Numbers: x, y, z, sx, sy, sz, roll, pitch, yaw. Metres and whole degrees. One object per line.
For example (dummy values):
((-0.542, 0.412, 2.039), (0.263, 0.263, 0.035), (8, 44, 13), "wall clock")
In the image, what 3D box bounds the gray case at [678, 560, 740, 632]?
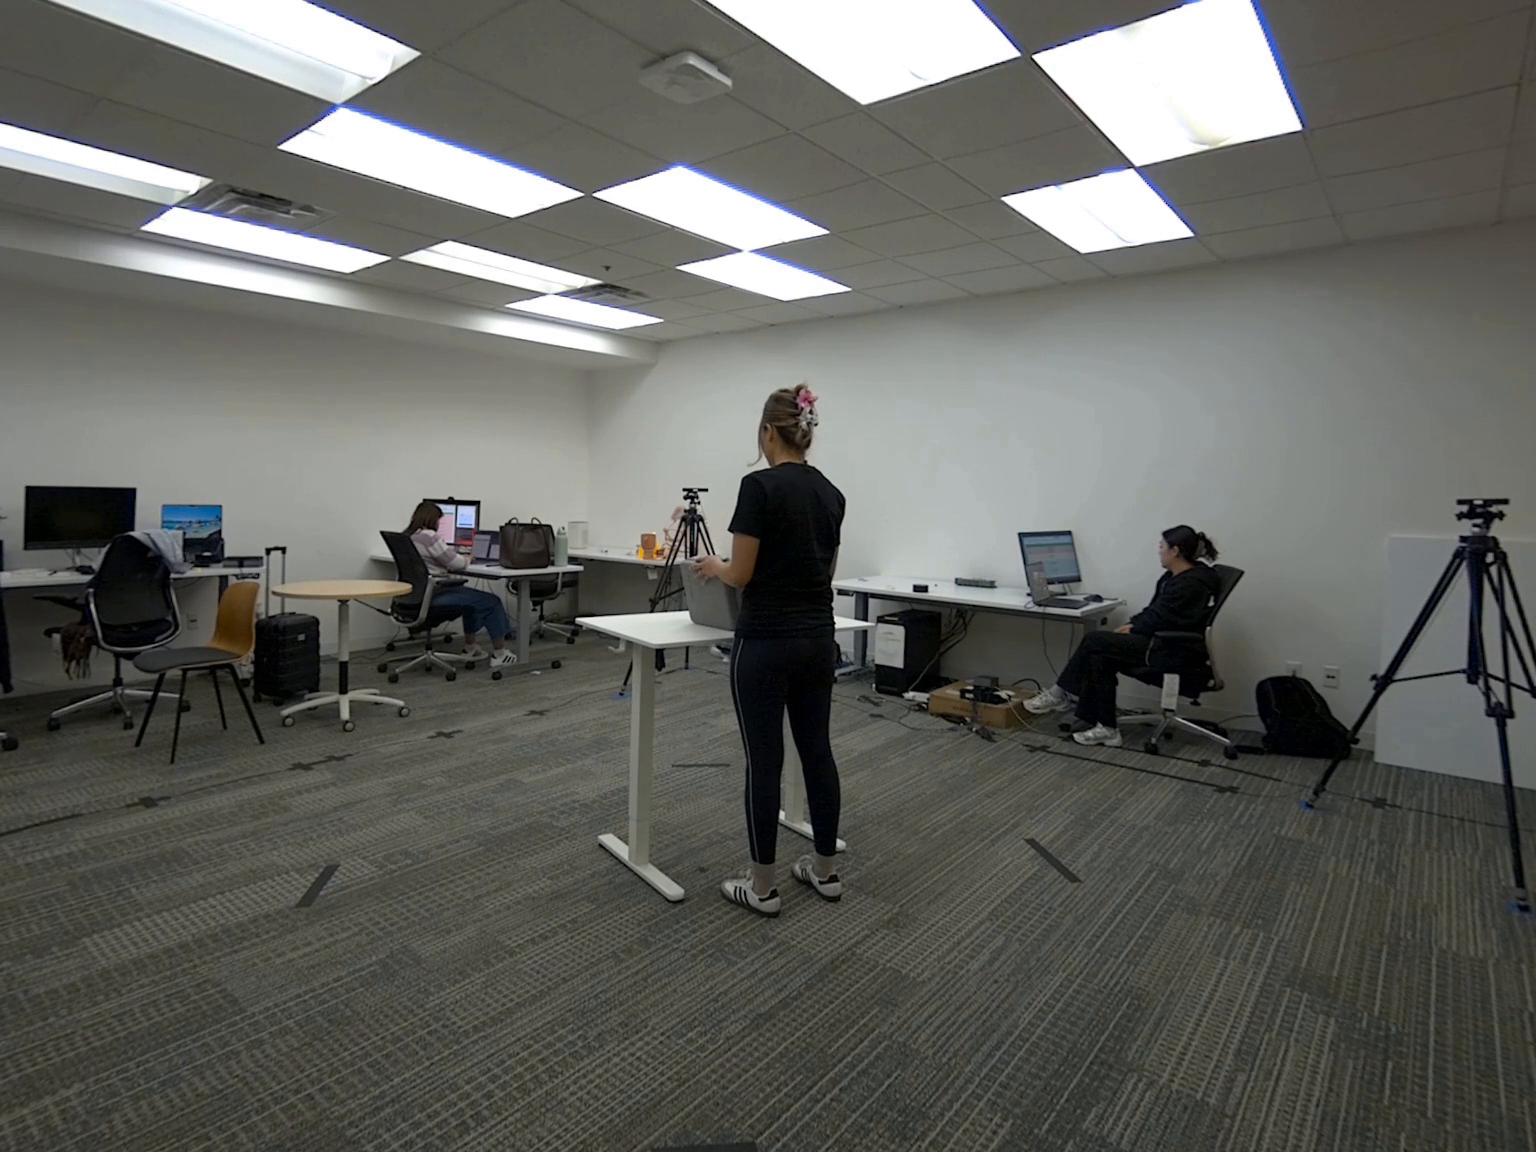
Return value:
((-0.210, 0.053, 3.114), (0.102, 0.253, 0.269), (-19, 16, -41), "gray case")
